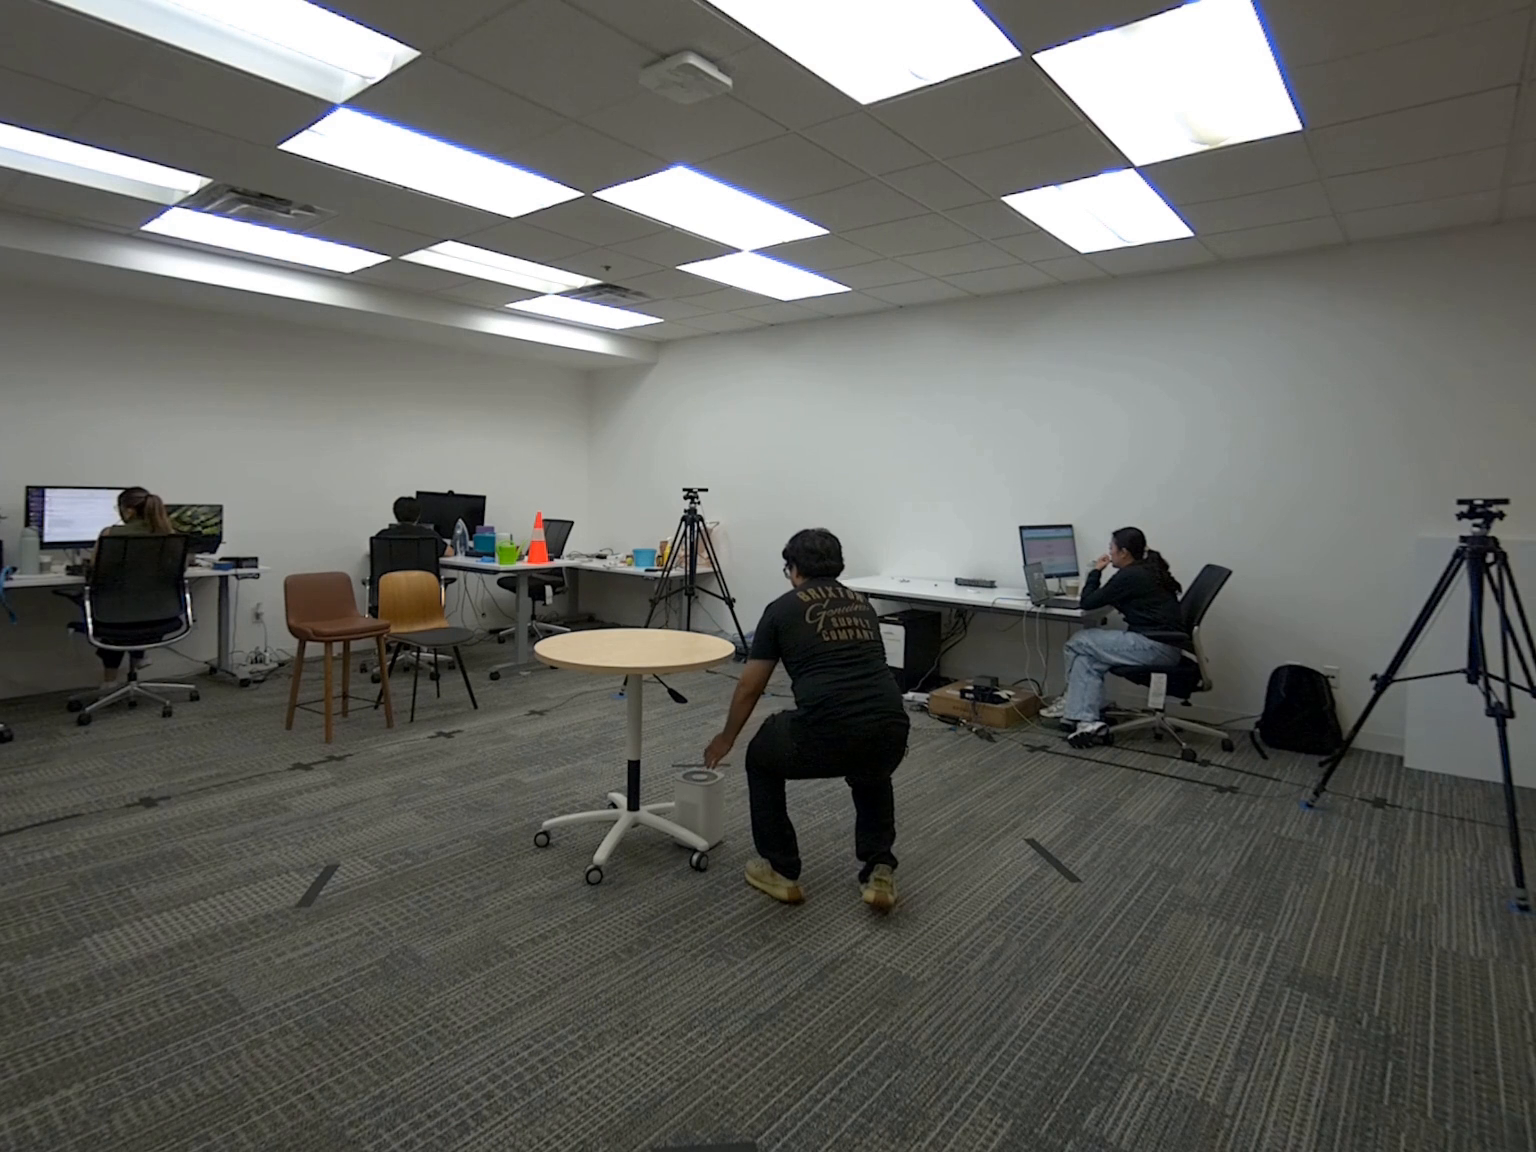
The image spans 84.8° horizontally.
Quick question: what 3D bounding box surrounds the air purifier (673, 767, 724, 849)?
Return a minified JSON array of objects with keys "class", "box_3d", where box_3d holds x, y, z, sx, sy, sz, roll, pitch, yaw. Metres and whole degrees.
[{"class":"air purifier","box_3d":[-0.276,0.914,3.343,0.176,0.265,0.167,0,4,29]}]
